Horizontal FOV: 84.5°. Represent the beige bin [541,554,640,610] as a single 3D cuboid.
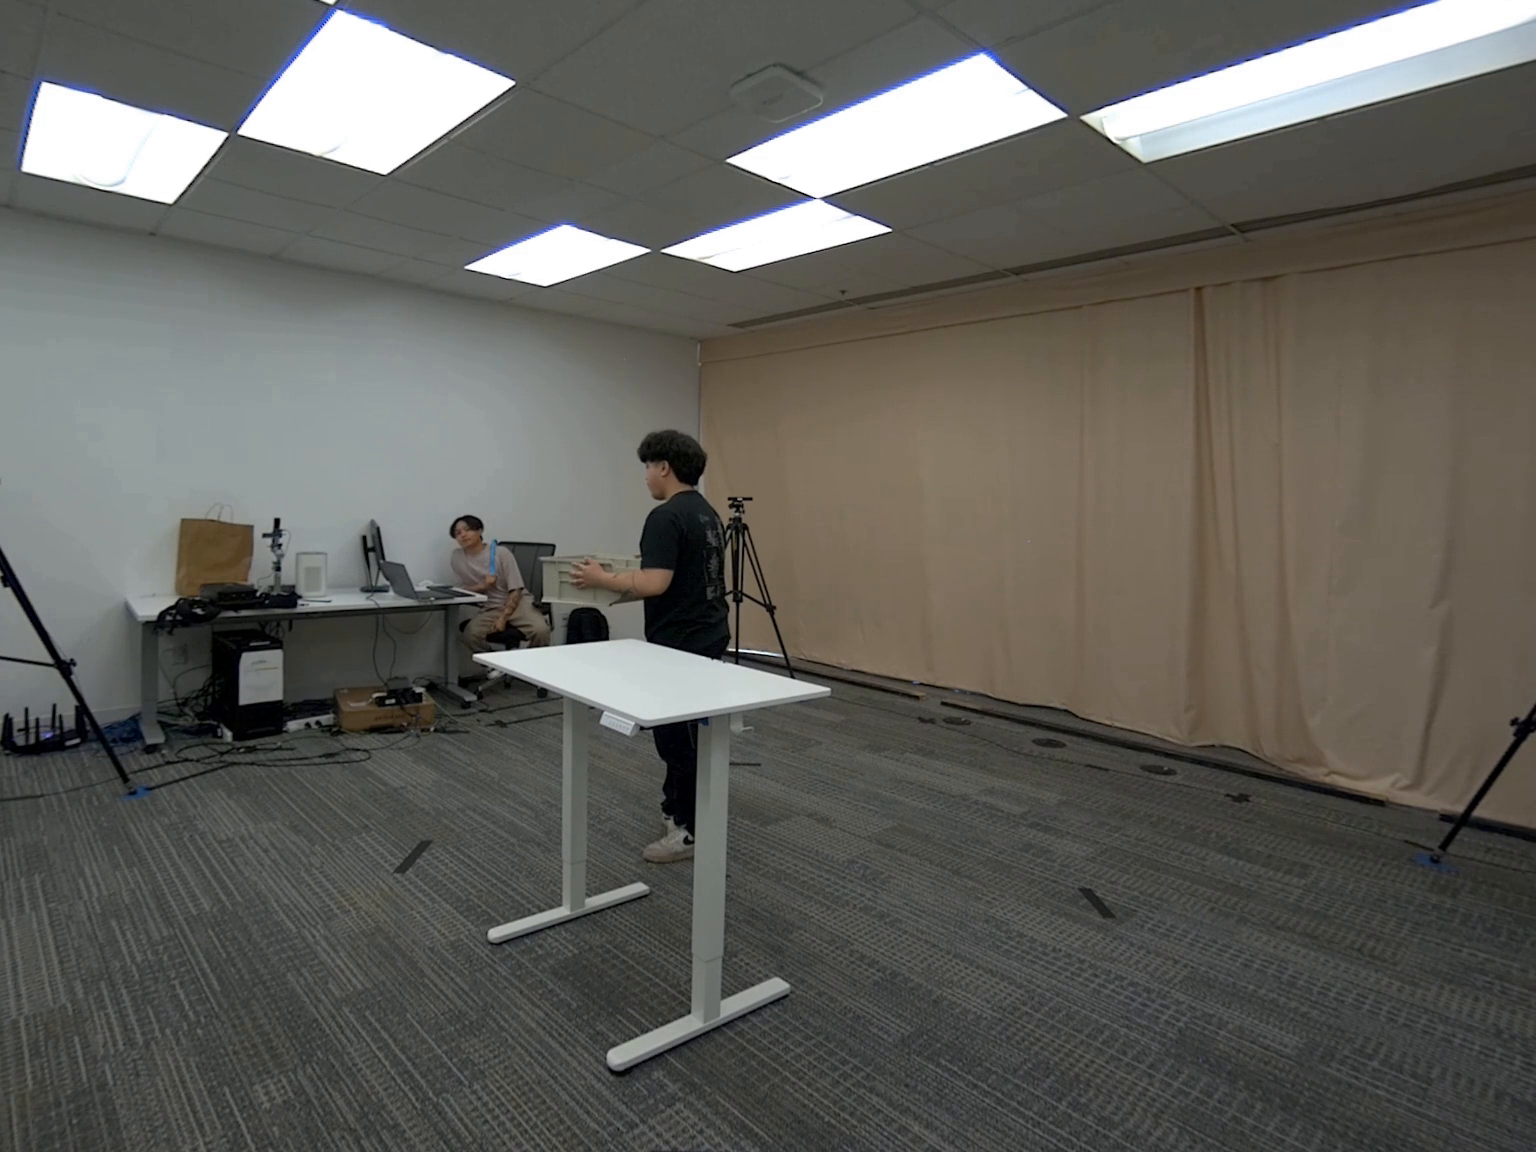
[{"bbox_3d":[-0.681,0.017,3.518,0.384,0.188,0.416,2,4,21],"label":"beige bin"}]
